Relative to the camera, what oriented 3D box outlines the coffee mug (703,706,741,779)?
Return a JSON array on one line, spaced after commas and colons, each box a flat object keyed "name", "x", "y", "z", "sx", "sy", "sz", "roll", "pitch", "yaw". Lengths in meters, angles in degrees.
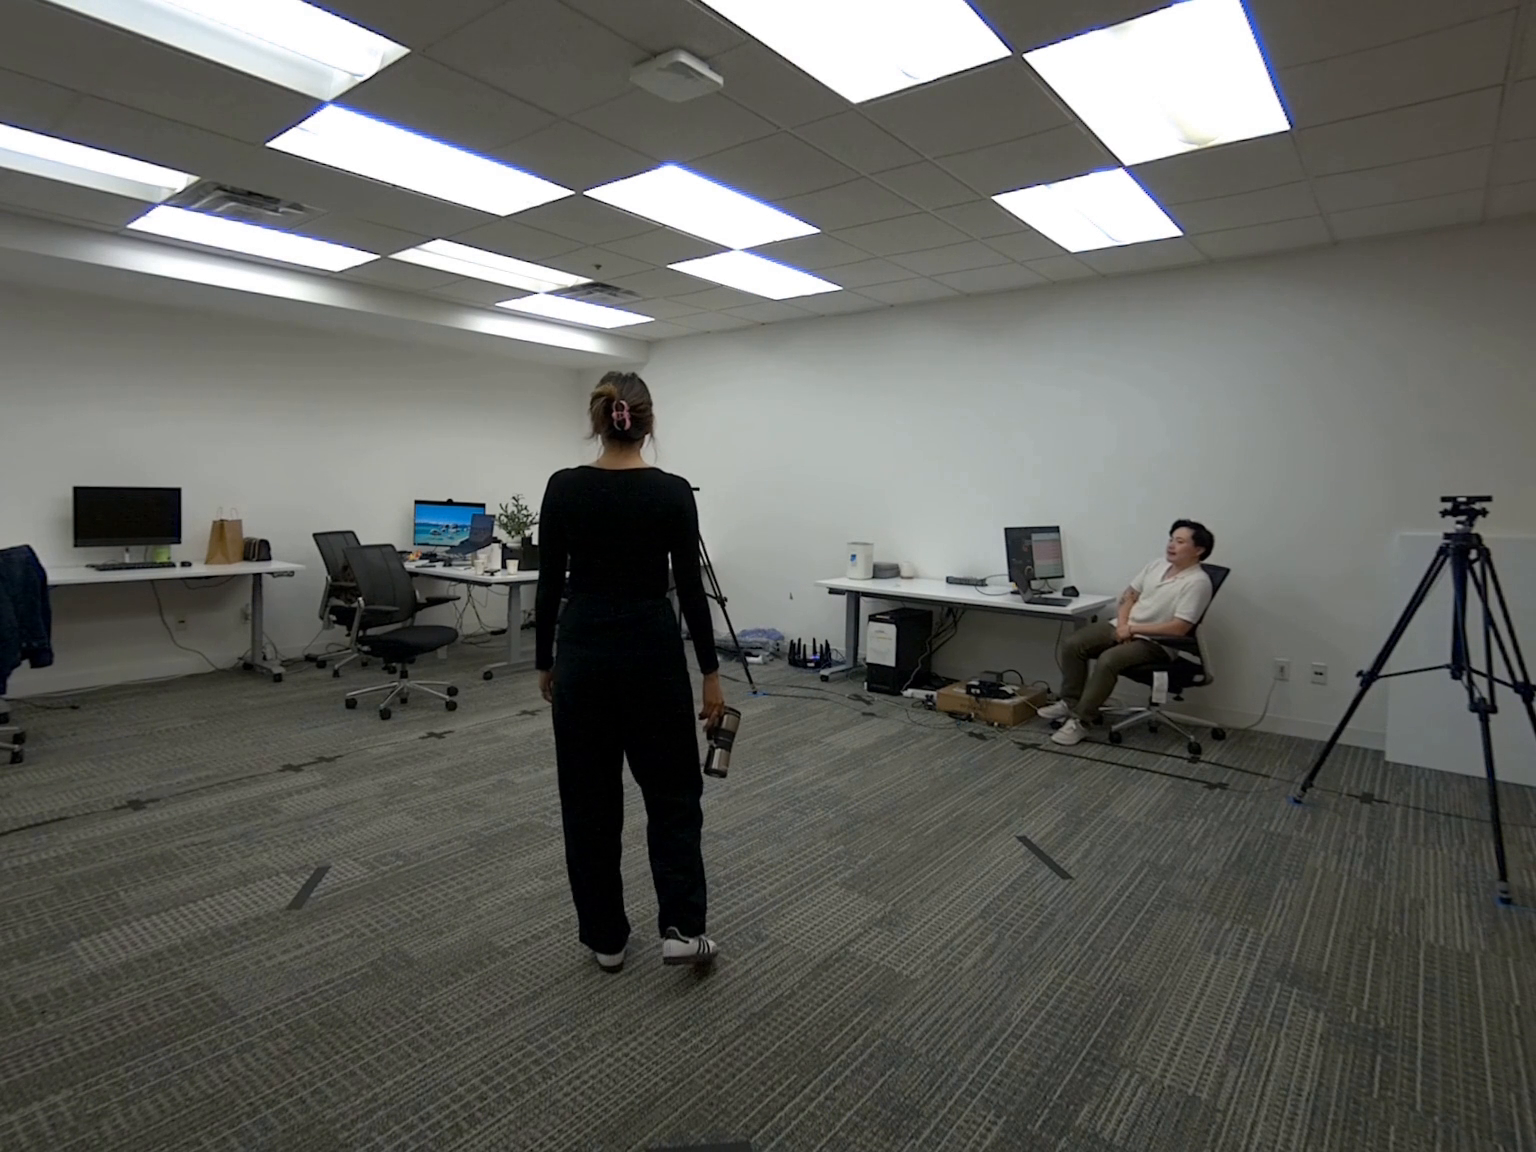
[{"name": "coffee mug", "x": -0.168, "y": 0.512, "z": 2.572, "sx": 0.125, "sy": 0.205, "sz": 0.084, "roll": -2, "pitch": -21, "yaw": 34}]
